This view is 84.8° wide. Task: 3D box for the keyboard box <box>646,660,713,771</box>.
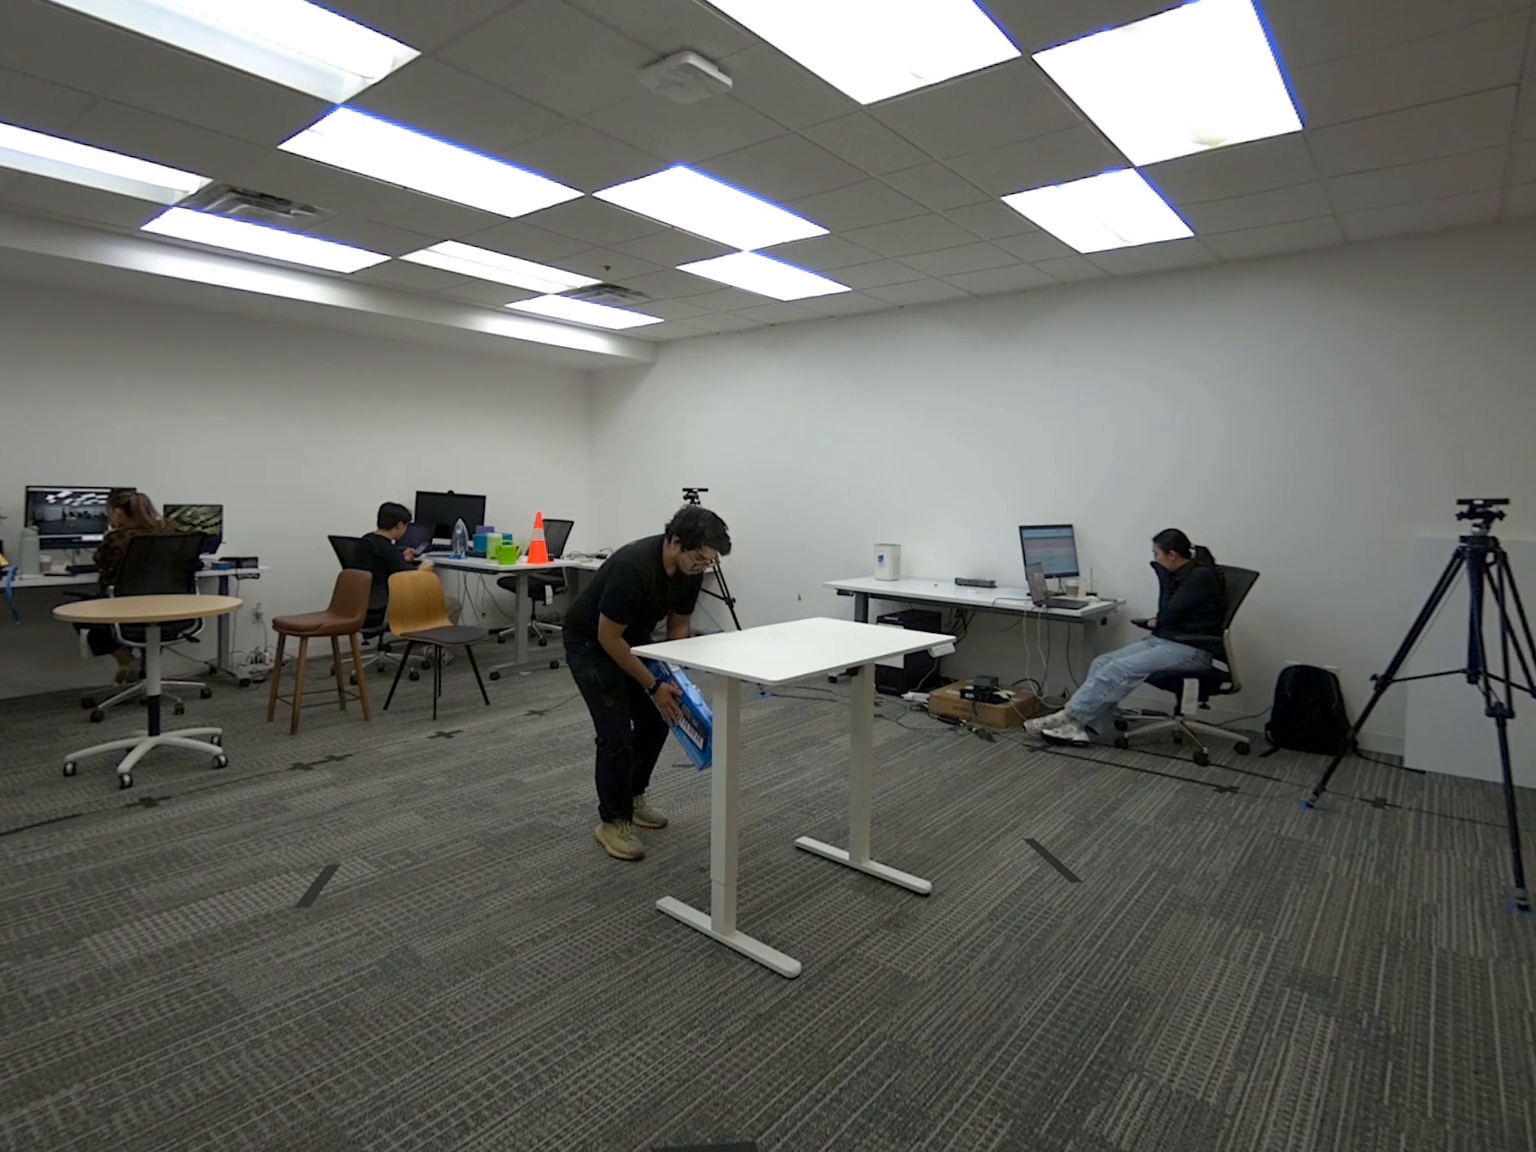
[{"bbox_3d":[-0.328,0.503,3.210,0.057,0.175,0.452,-6,50,-48],"label":"keyboard box"}]
